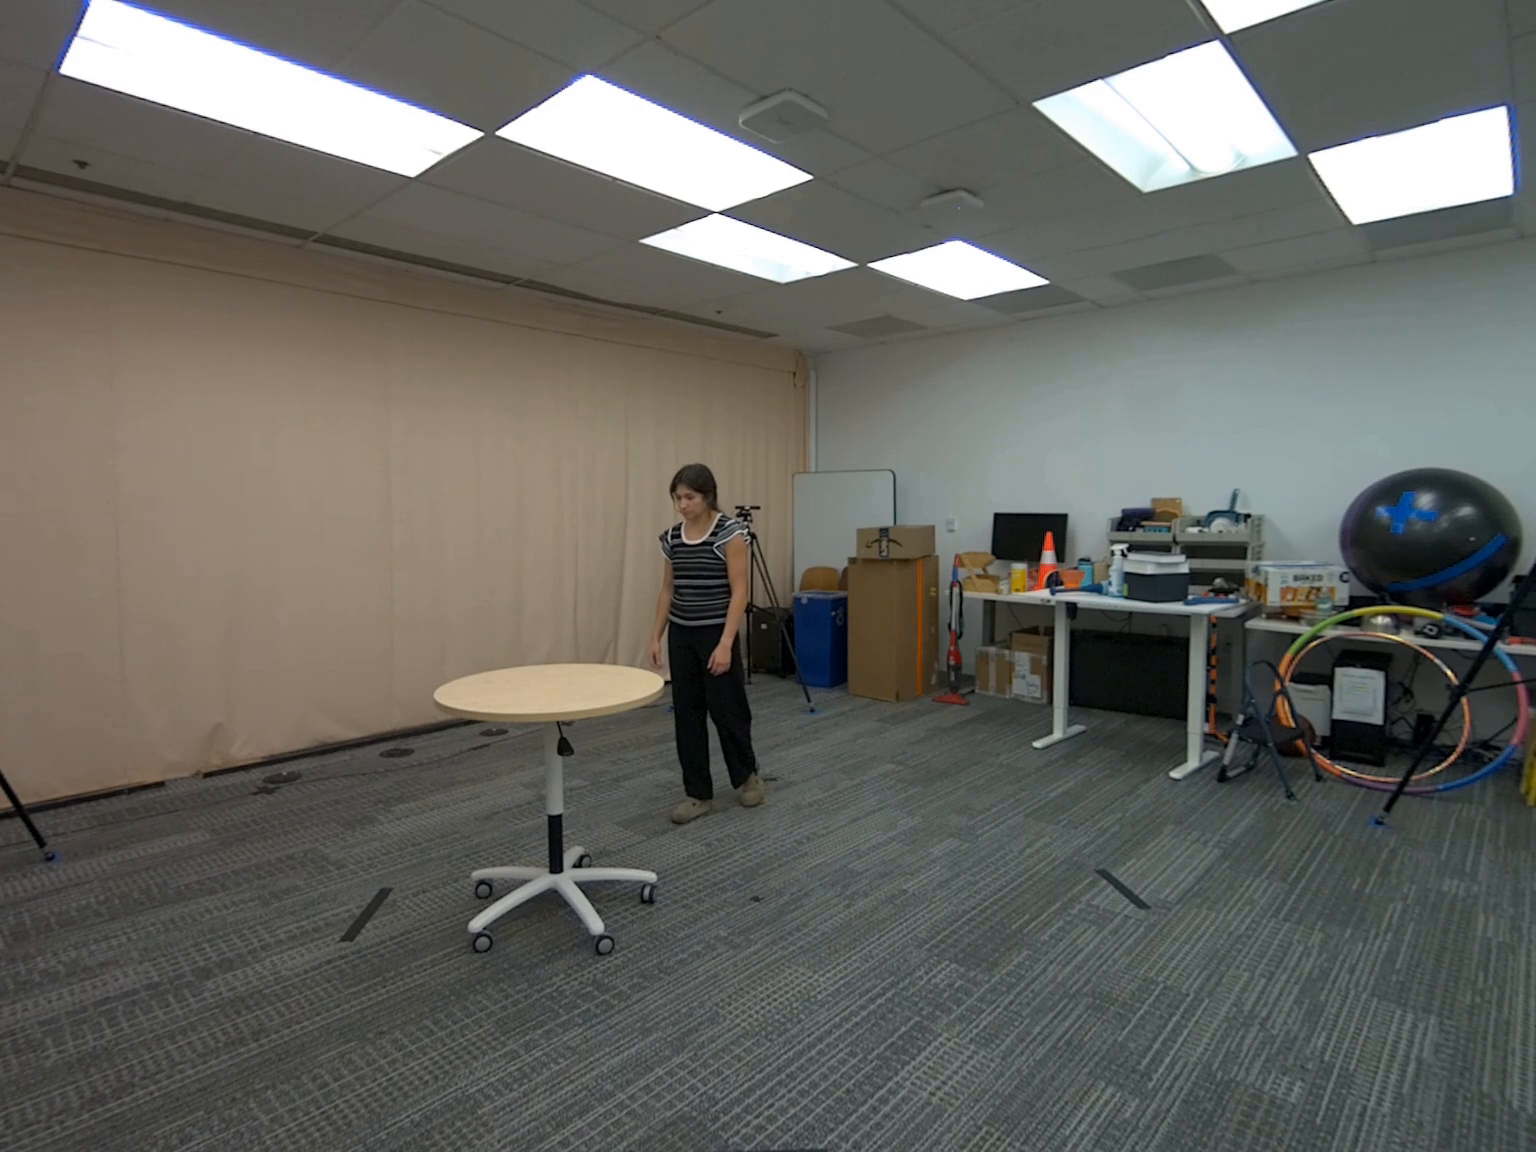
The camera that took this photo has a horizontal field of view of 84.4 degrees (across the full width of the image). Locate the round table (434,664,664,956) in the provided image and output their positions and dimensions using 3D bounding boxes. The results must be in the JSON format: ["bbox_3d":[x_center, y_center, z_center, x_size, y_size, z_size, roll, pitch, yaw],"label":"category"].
[{"bbox_3d":[-0.733,0.770,2.877,0.763,0.792,0.766,-1,4,-2],"label":"round table"}]
